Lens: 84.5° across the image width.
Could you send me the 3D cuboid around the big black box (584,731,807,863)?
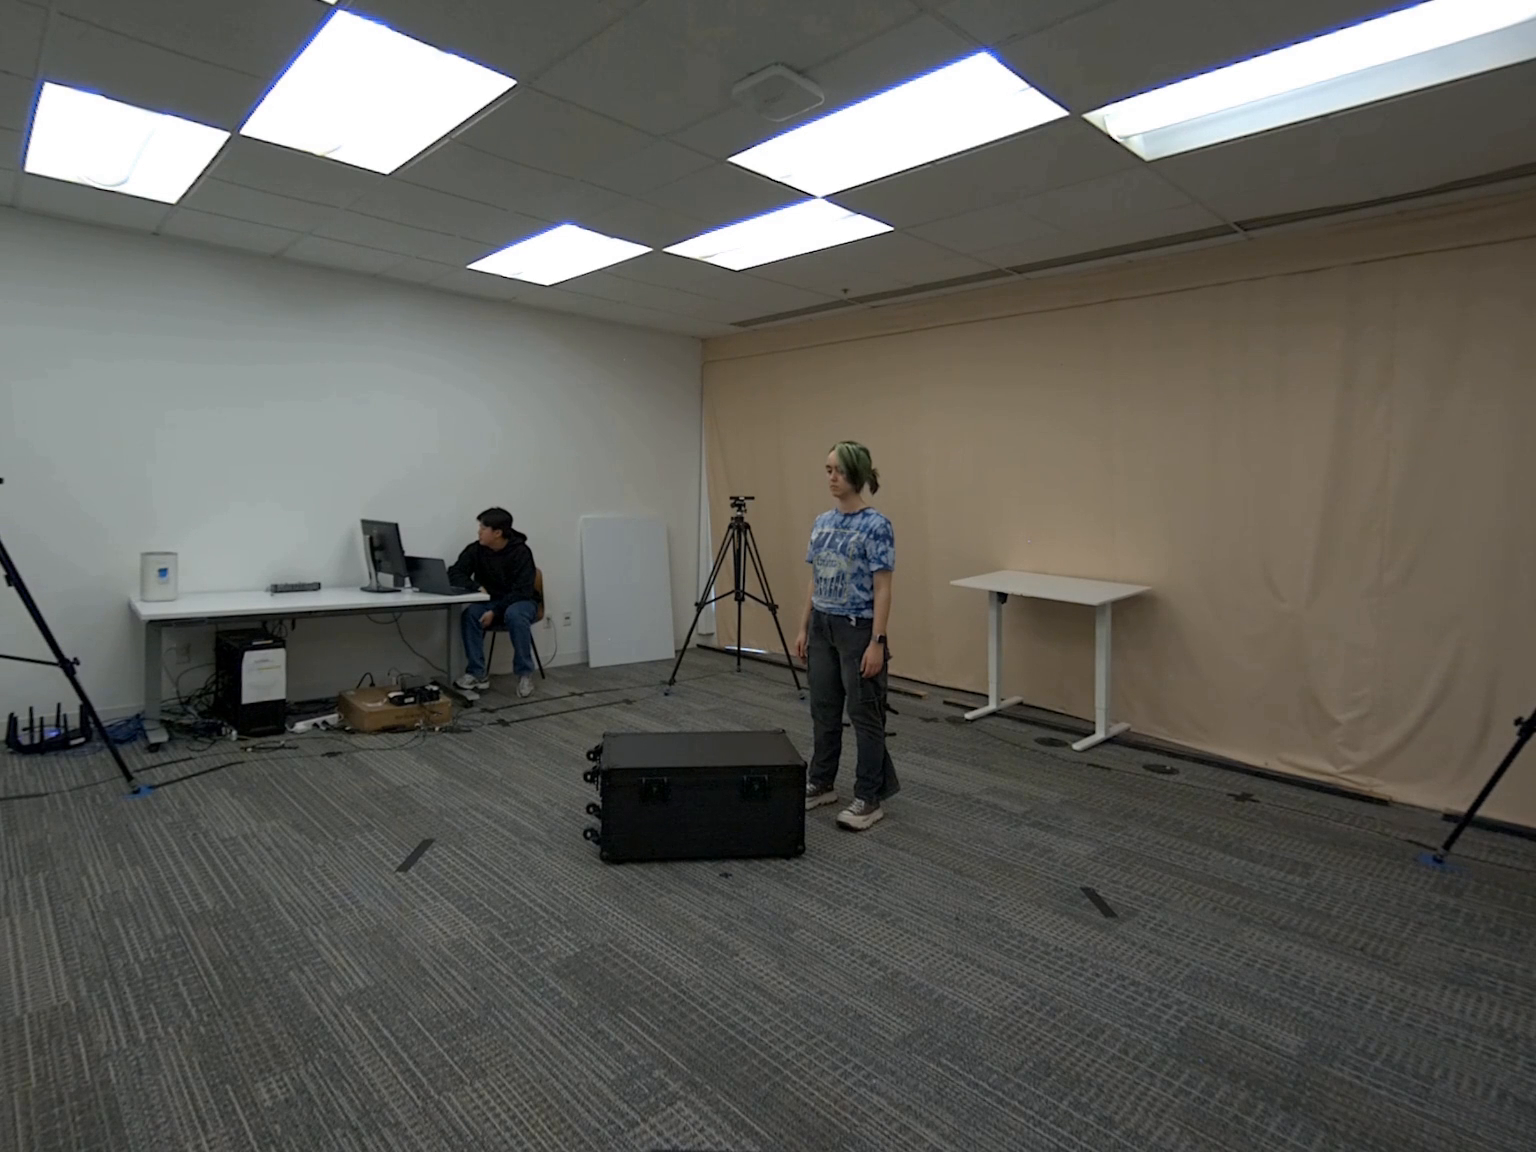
[{"bbox_3d":[-0.260,0.881,3.422,0.856,0.395,0.526,1,5,-8],"label":"big black box"}]
